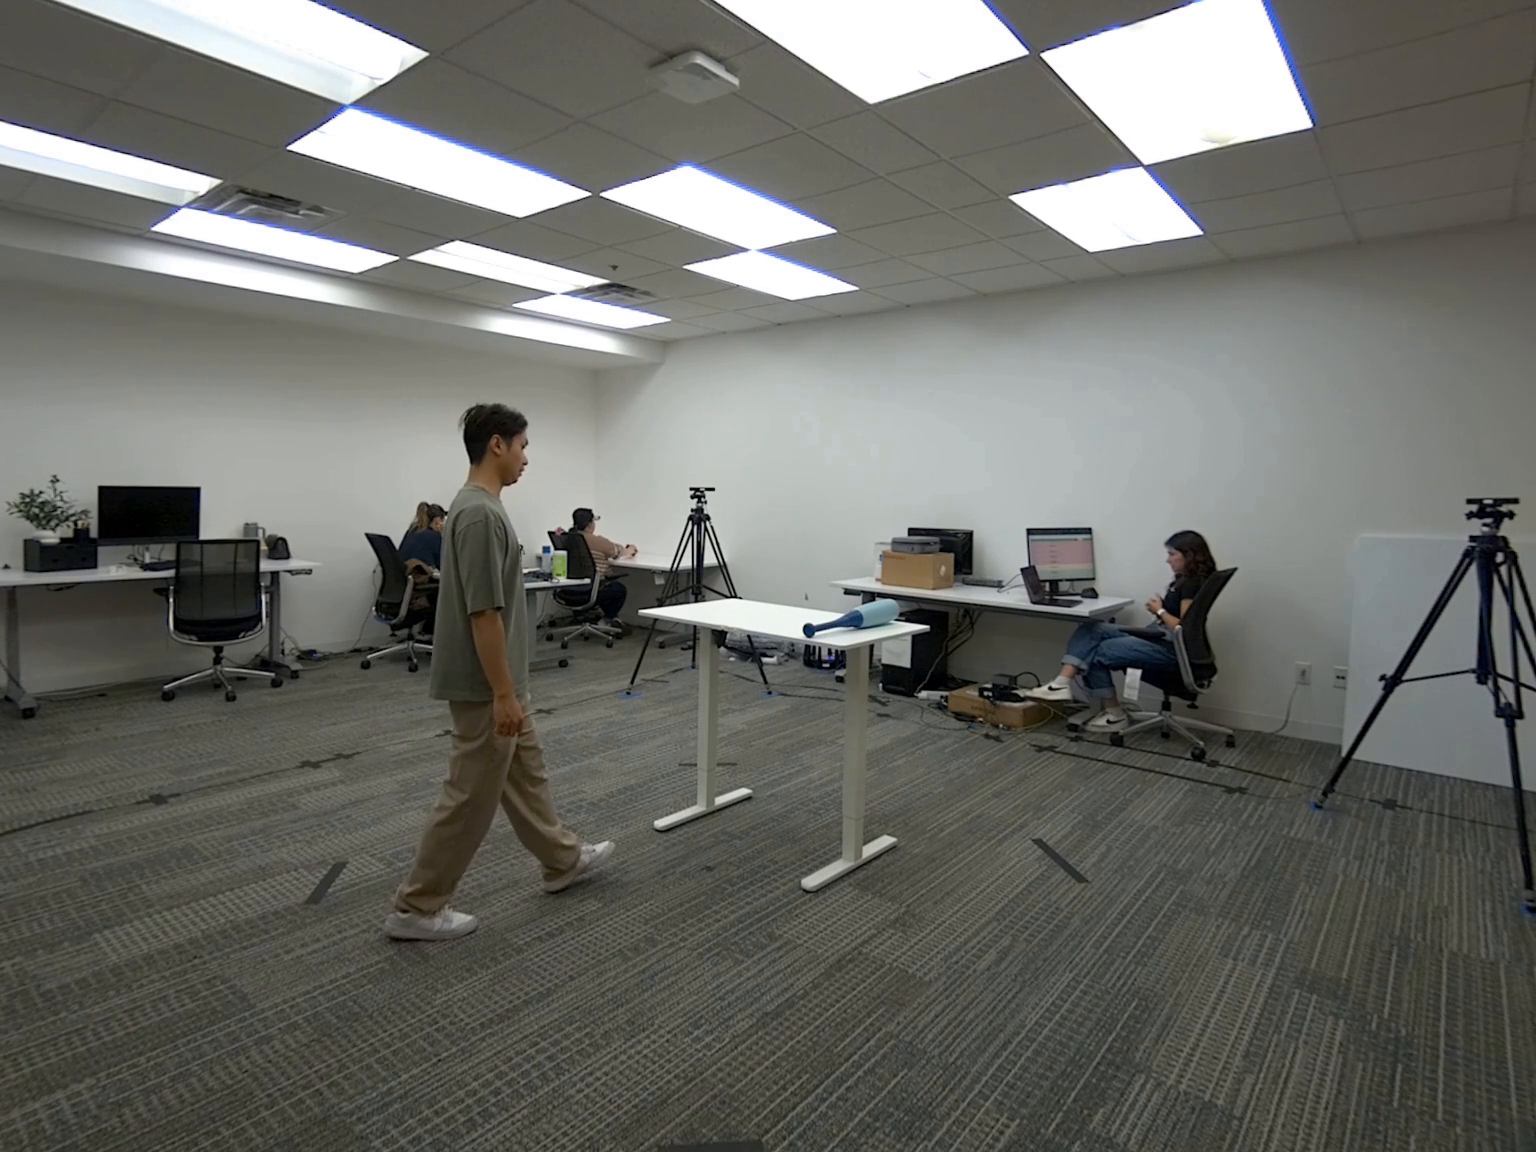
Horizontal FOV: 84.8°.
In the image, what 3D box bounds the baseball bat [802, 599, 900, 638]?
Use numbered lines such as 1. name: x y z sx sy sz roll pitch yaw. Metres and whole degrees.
1. baseball bat: 0.310 0.160 3.127 0.092 0.088 0.528 4 10 41
